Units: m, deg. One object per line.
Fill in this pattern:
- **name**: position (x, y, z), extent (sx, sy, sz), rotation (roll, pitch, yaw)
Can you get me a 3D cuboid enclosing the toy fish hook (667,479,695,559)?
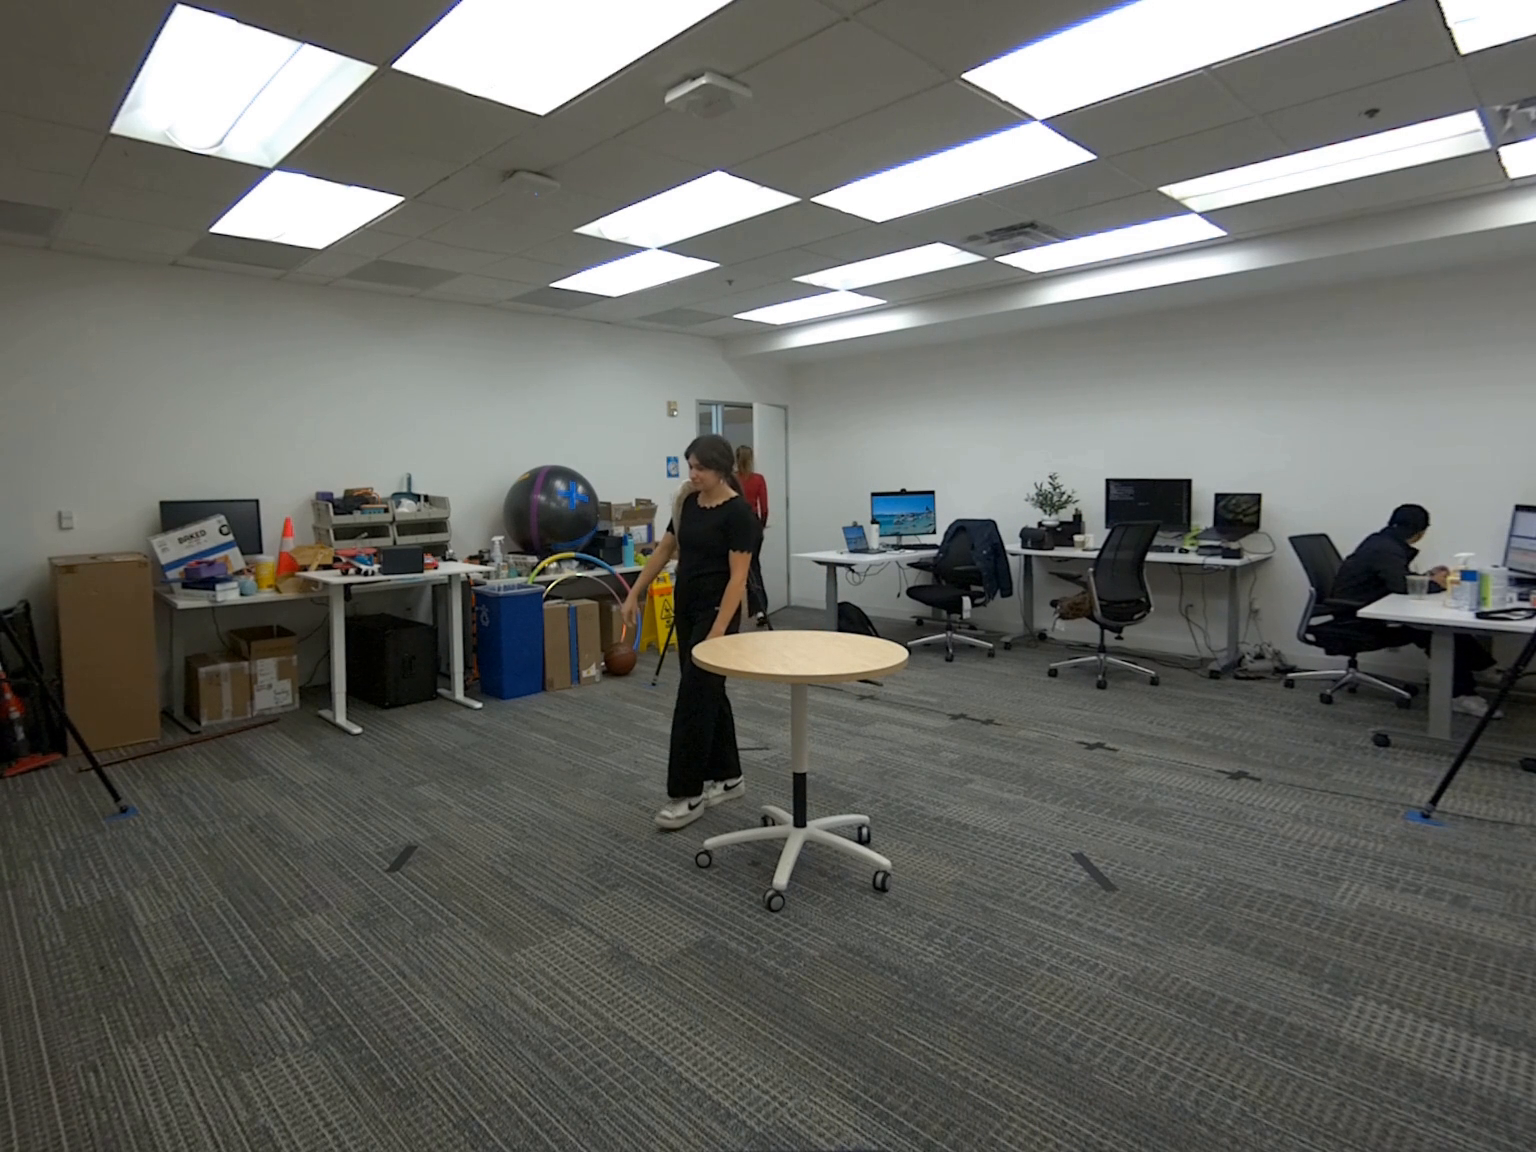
- **toy fish hook**: position (-0.346, -0.191, 3.774), extent (0.050, 0.499, 0.220), rotation (21, 25, 38)
